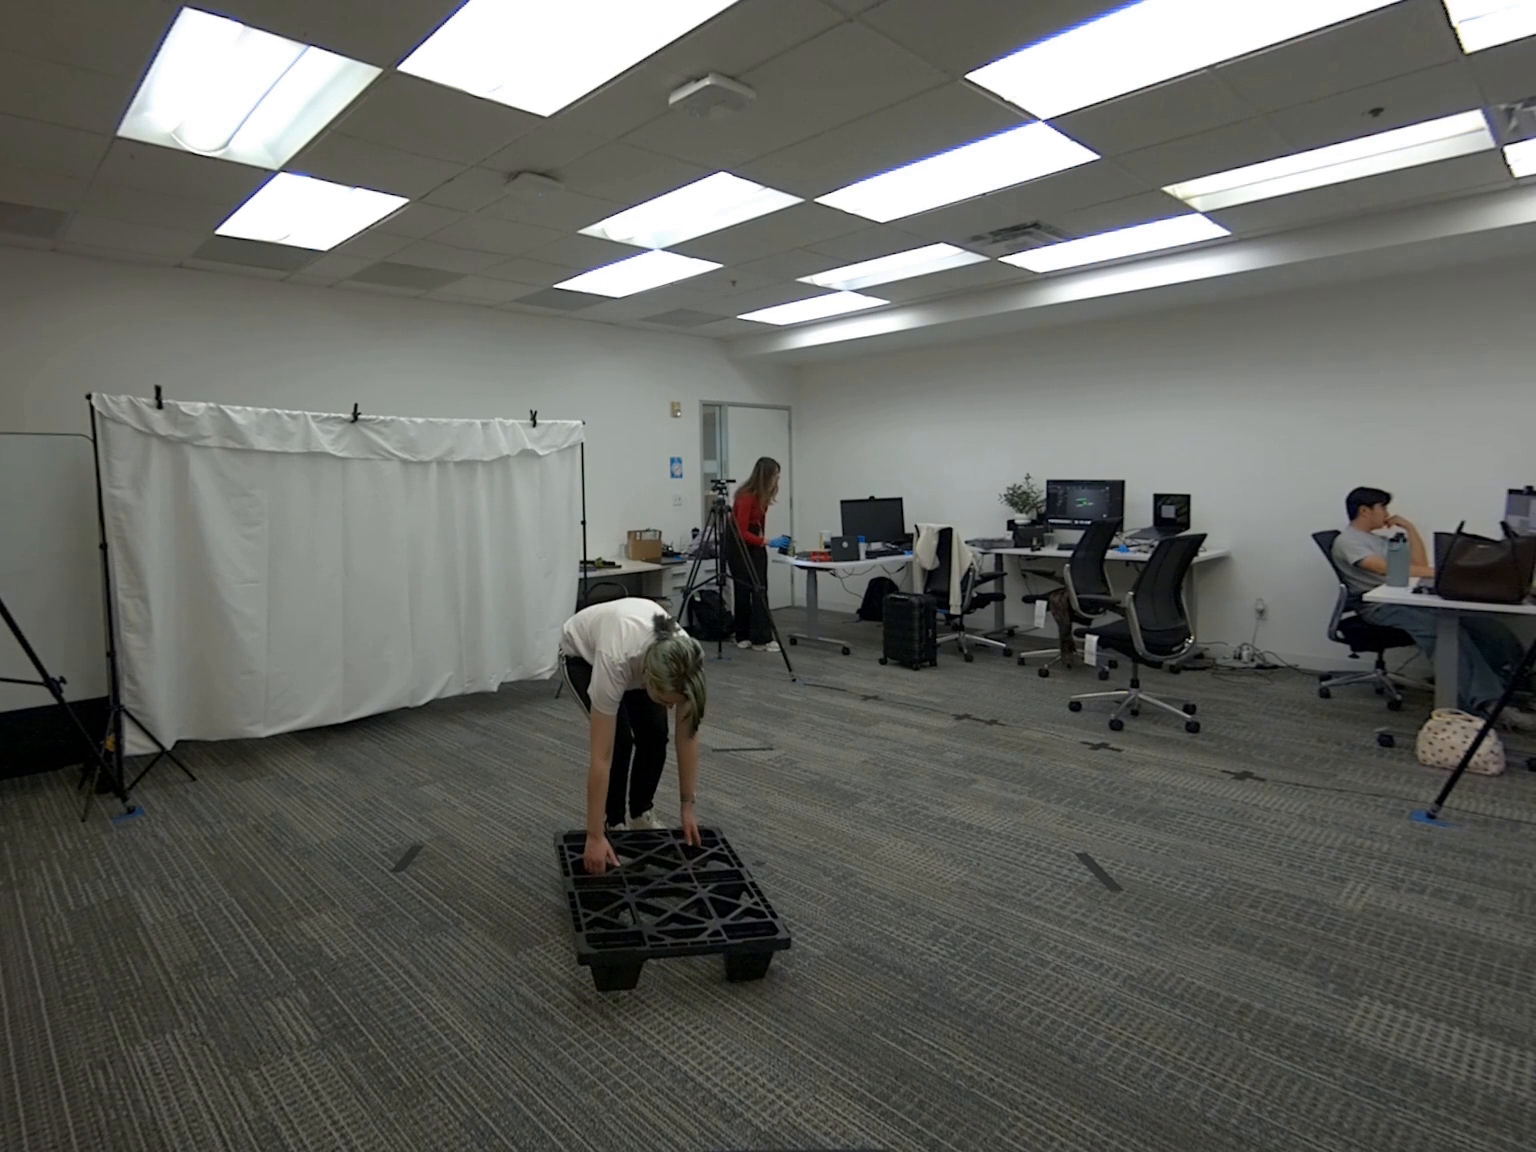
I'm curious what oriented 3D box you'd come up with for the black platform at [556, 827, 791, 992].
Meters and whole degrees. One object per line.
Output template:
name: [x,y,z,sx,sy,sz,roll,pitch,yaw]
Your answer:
black platform: [-0.340,1.015,2.679,0.595,0.143,0.821,2,5,-18]
